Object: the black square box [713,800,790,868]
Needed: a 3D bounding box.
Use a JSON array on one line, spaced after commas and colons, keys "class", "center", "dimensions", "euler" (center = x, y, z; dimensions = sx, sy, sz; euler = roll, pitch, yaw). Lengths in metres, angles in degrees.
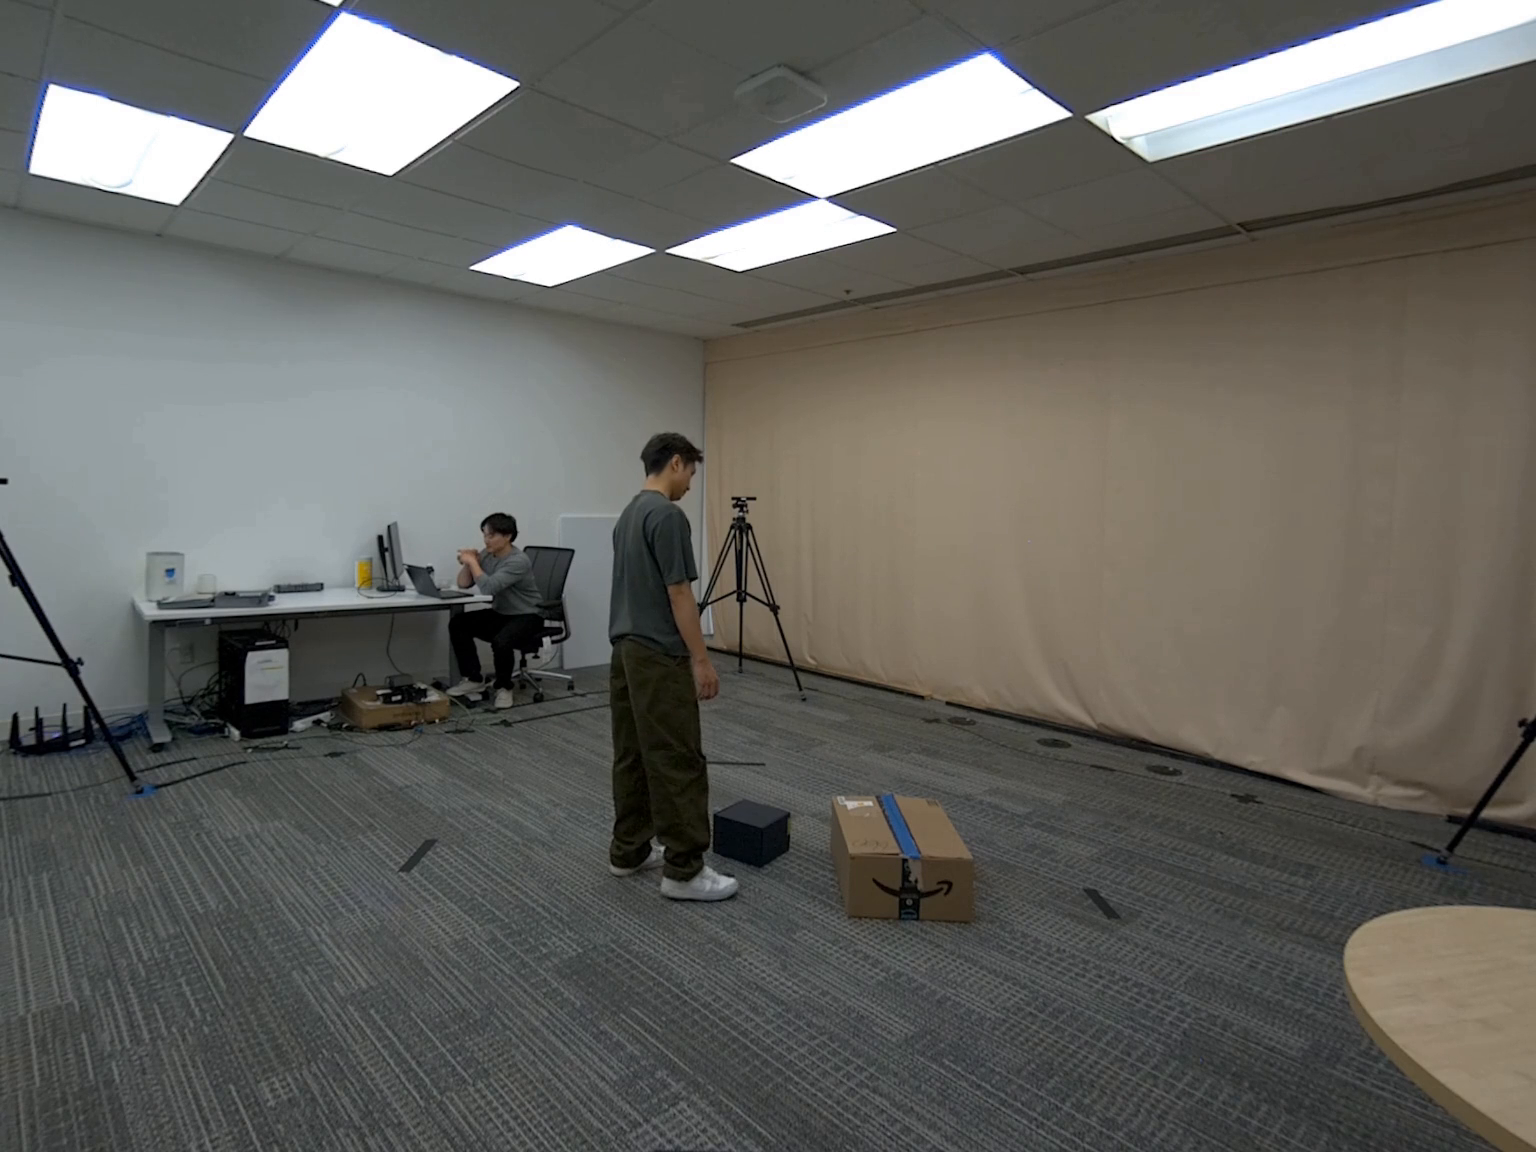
[{"class": "black square box", "center": [-0.068, 1.007, 3.318], "dimensions": [0.233, 0.155, 0.212], "euler": [4, 5, 33]}]
